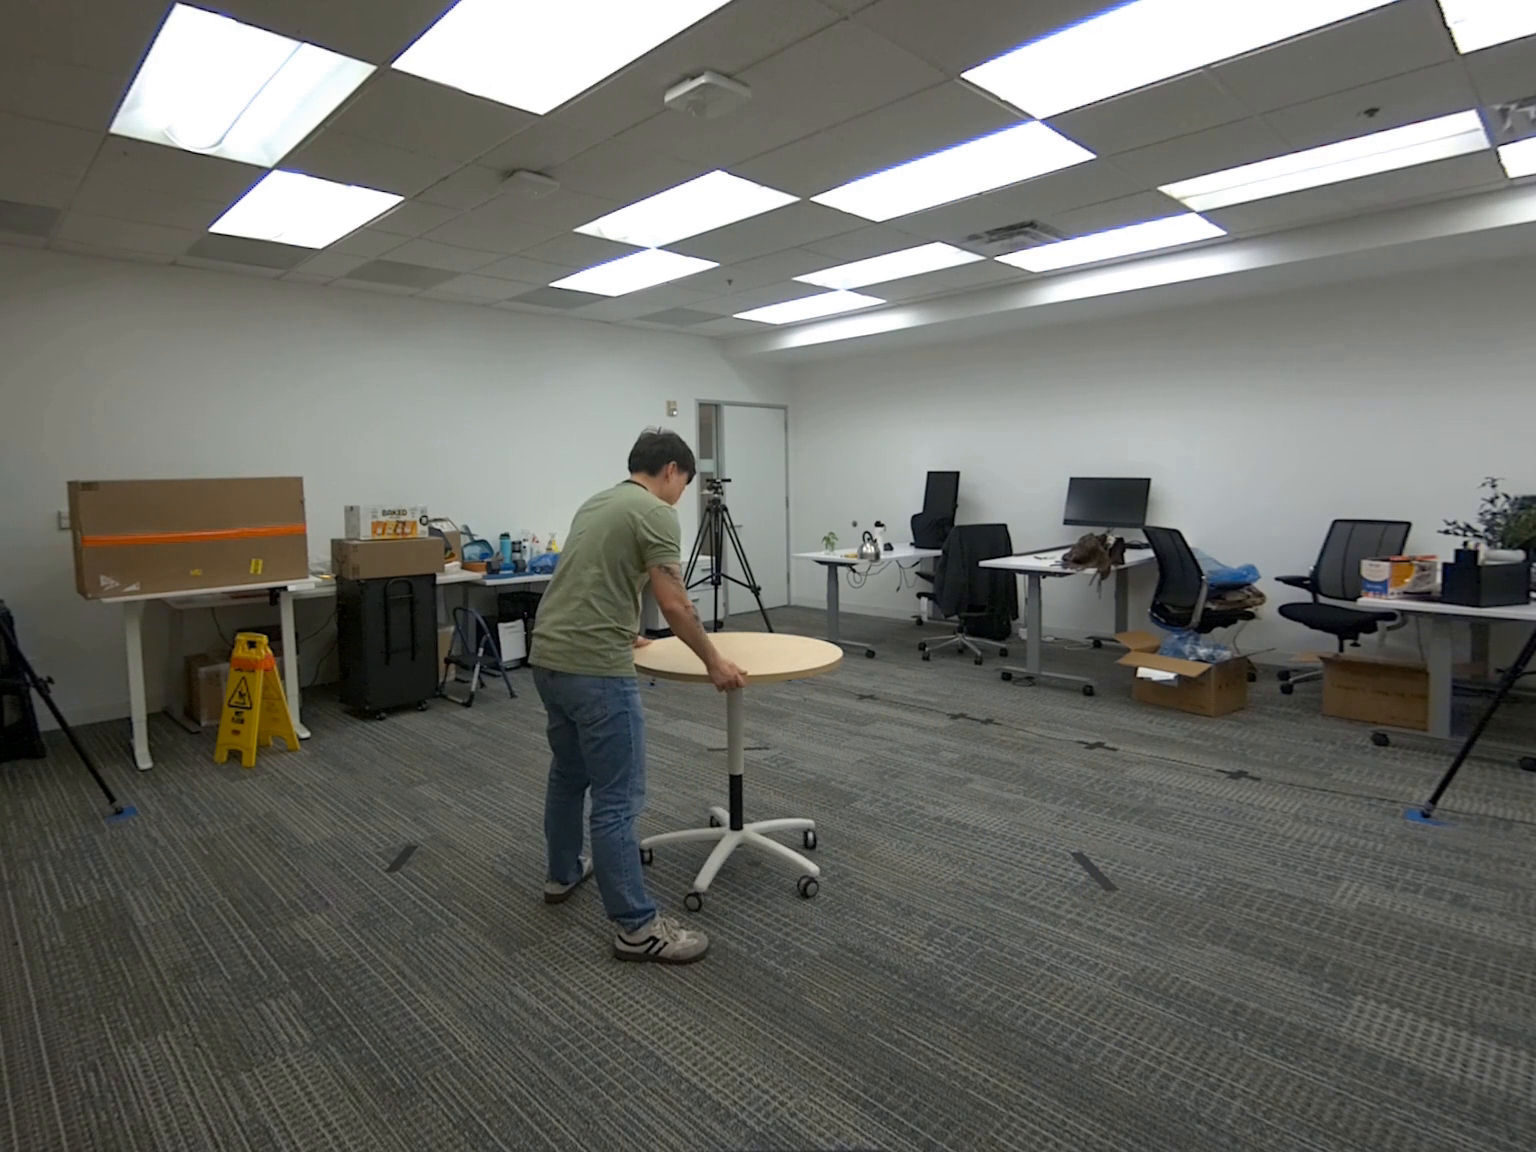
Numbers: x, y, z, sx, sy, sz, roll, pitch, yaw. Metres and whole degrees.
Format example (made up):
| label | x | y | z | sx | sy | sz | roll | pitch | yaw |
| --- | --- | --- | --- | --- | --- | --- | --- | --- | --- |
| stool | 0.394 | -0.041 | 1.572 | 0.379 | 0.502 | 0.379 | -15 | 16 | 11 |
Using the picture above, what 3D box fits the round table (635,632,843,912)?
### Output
| label | x | y | z | sx | sy | sz | roll | pitch | yaw |
| --- | --- | --- | --- | --- | --- | --- | --- | --- | --- |
| round table | -0.114 | 0.659 | 3.065 | 0.763 | 0.791 | 0.768 | -1 | 5 | -2 |
